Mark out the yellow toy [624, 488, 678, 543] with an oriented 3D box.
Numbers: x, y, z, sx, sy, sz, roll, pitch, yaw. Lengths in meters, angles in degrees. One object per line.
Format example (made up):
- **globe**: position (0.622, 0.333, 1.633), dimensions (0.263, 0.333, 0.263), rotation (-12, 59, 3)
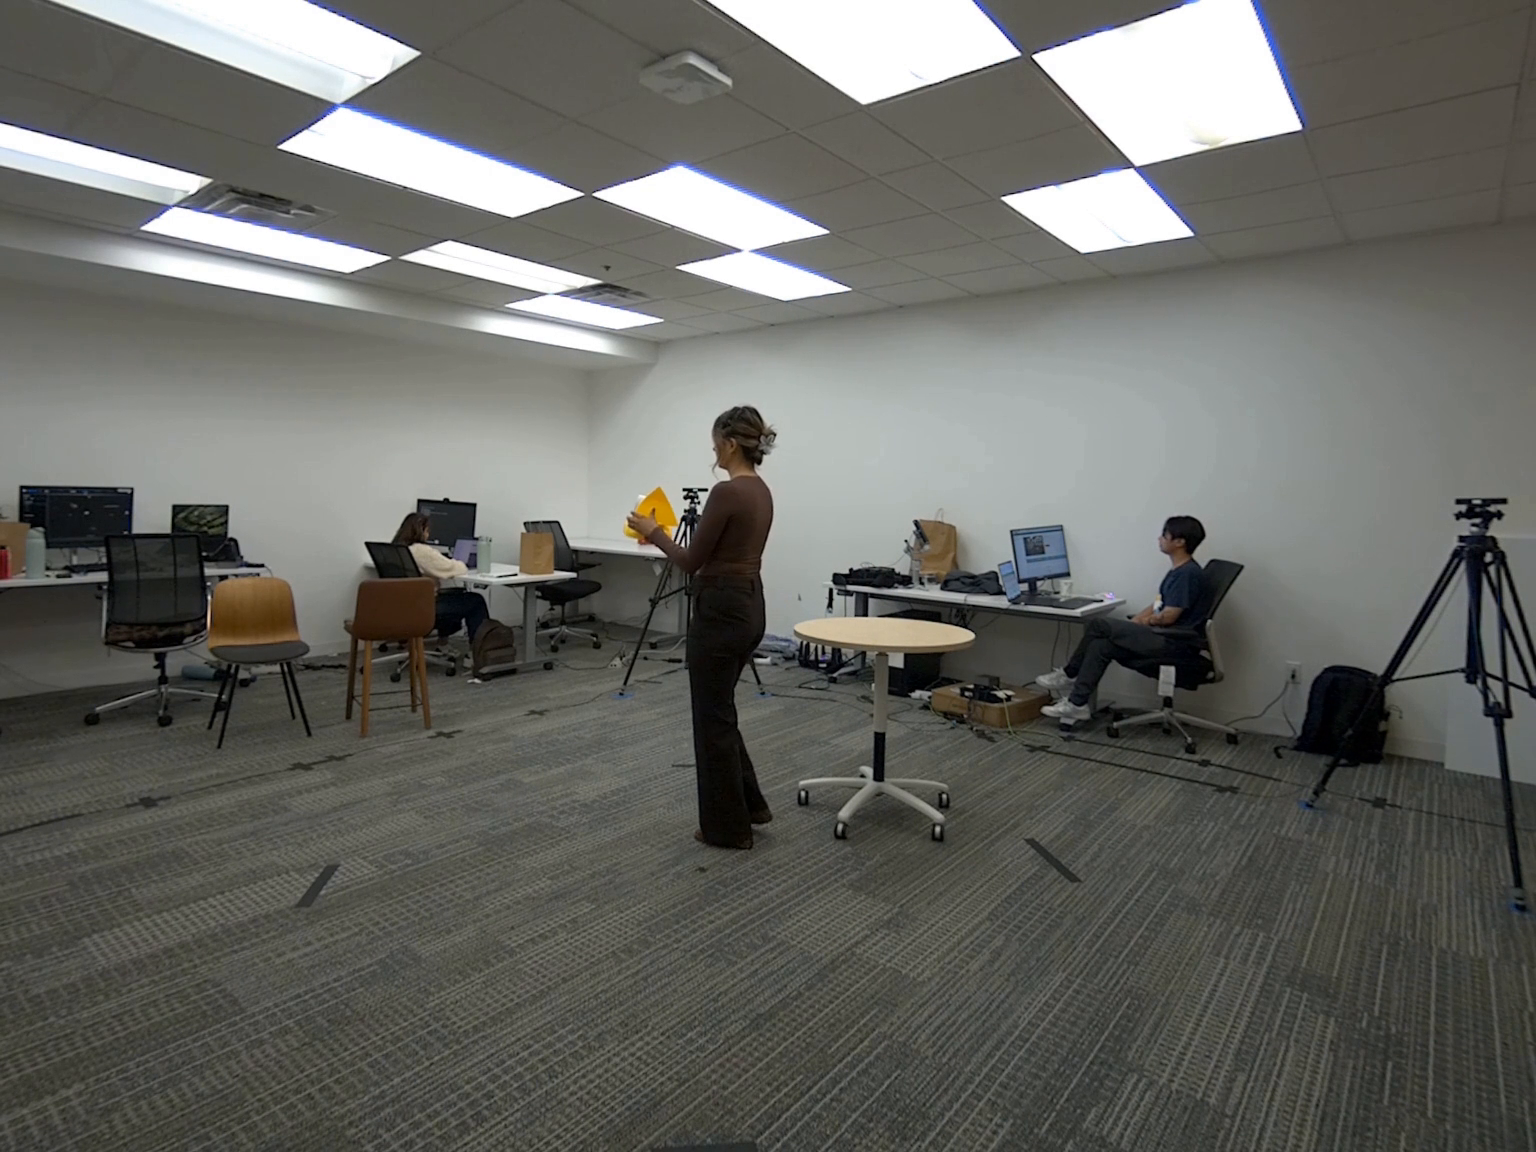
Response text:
- **yellow toy**: position (-0.491, -0.278, 3.501), dimensions (0.201, 0.228, 0.199), rotation (6, 16, -18)
